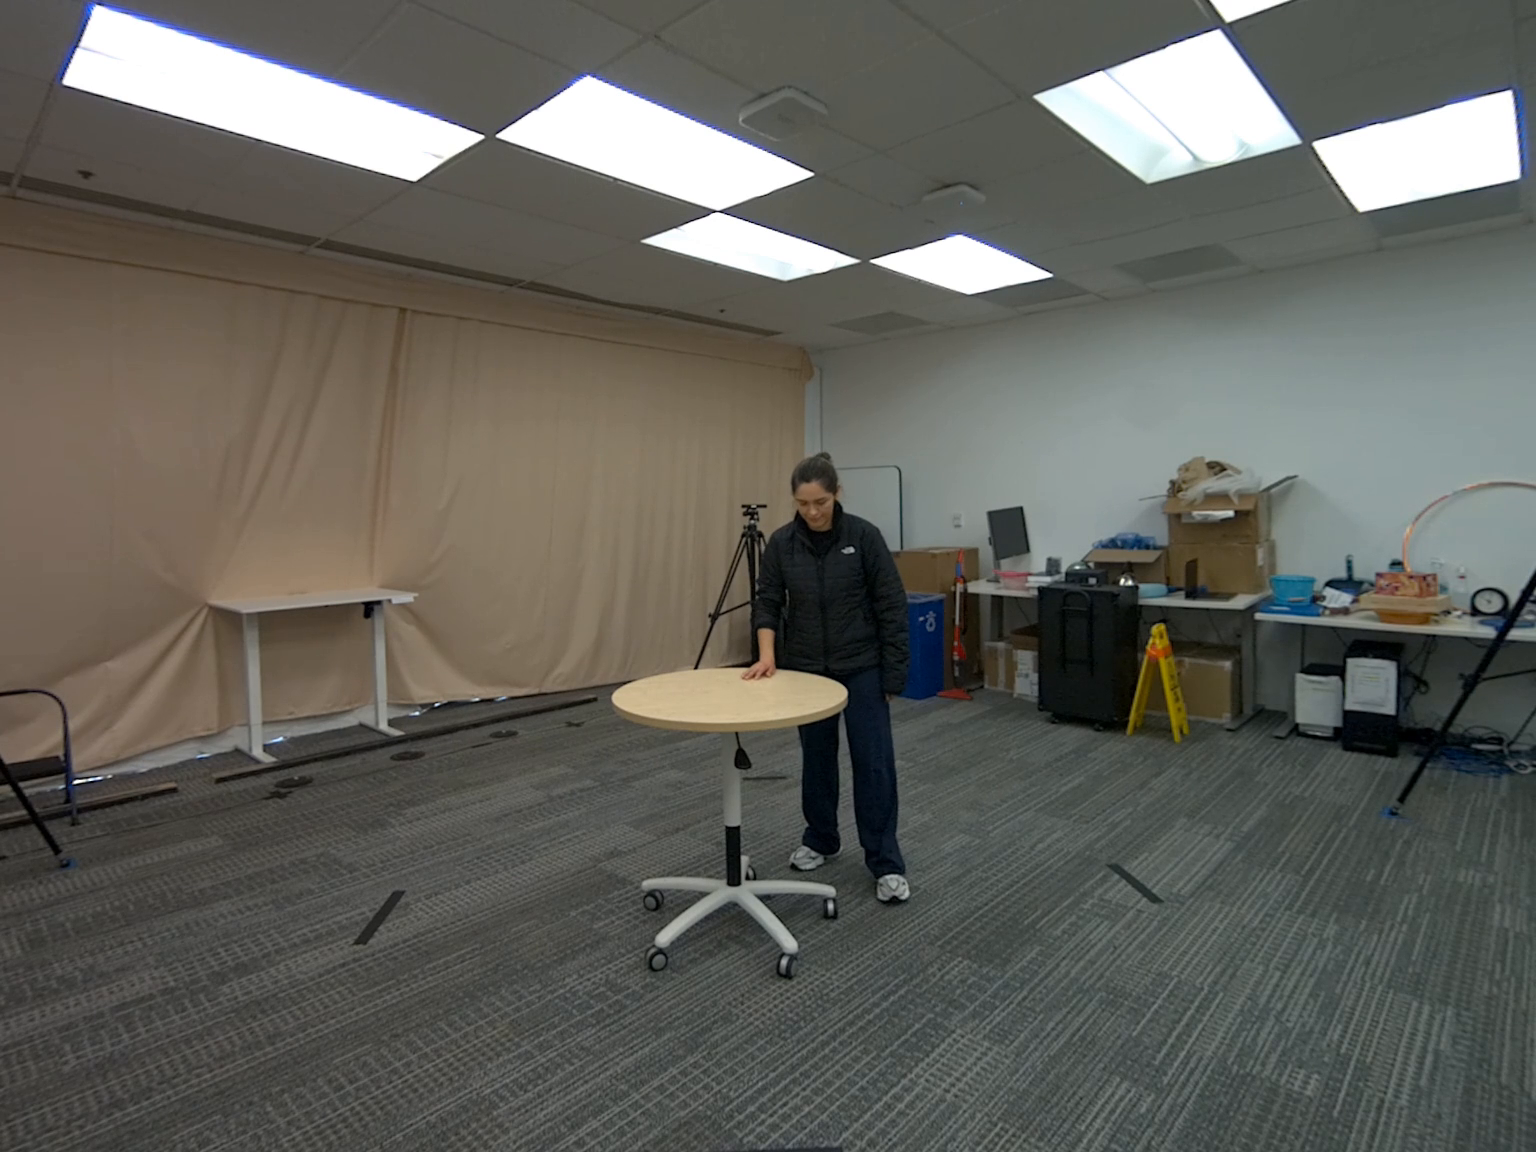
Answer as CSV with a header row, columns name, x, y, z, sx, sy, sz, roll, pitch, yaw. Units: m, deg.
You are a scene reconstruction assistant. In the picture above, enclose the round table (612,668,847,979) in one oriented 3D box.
name,x,y,z,sx,sy,sz,roll,pitch,yaw
round table,-0.113,0.766,2.781,0.784,0.784,0.788,-1,4,-2
